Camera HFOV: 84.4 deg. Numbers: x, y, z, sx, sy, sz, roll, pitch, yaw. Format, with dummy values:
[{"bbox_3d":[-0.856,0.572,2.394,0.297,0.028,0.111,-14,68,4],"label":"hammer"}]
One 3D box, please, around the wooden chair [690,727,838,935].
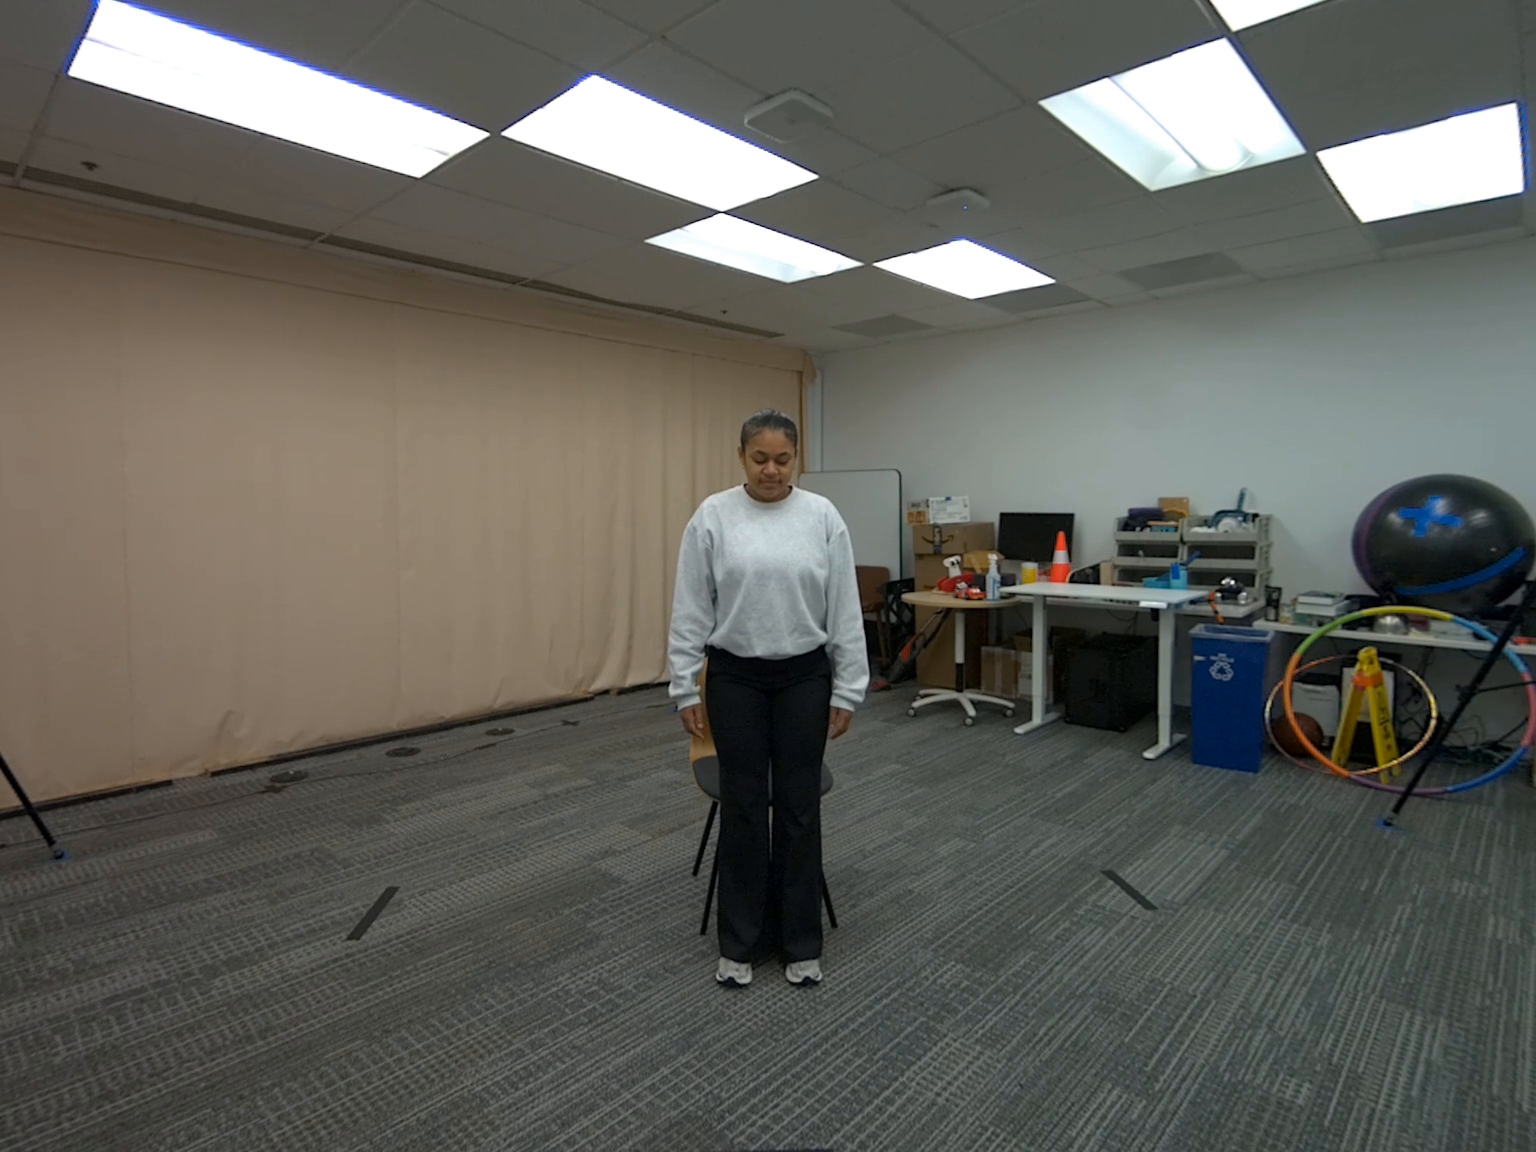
[{"bbox_3d":[-0.024,0.716,2.939,0.475,0.878,0.527,0,-1,-8],"label":"wooden chair"}]
